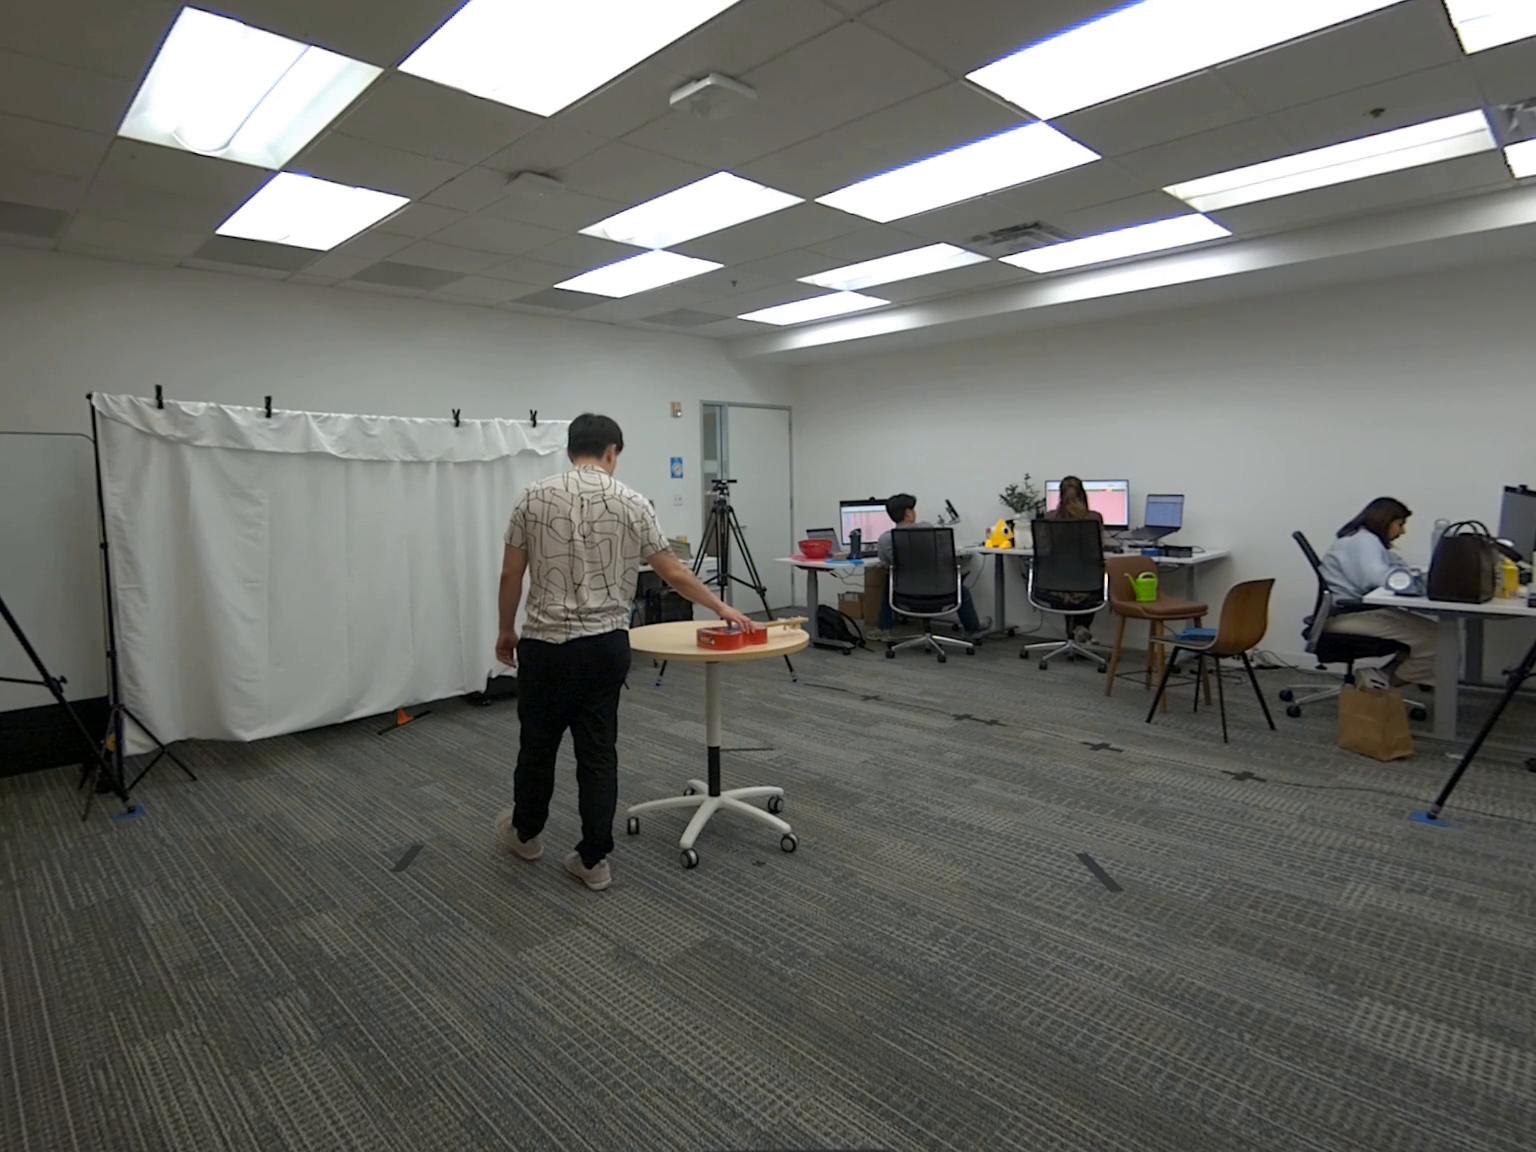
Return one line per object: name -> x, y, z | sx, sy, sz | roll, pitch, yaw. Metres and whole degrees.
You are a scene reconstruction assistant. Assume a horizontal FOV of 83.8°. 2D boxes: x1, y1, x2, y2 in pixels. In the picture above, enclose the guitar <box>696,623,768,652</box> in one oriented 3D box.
guitar -> -0.026, 0.219, 3.233 | 0.487, 0.070, 0.198 | -4, 6, -28
